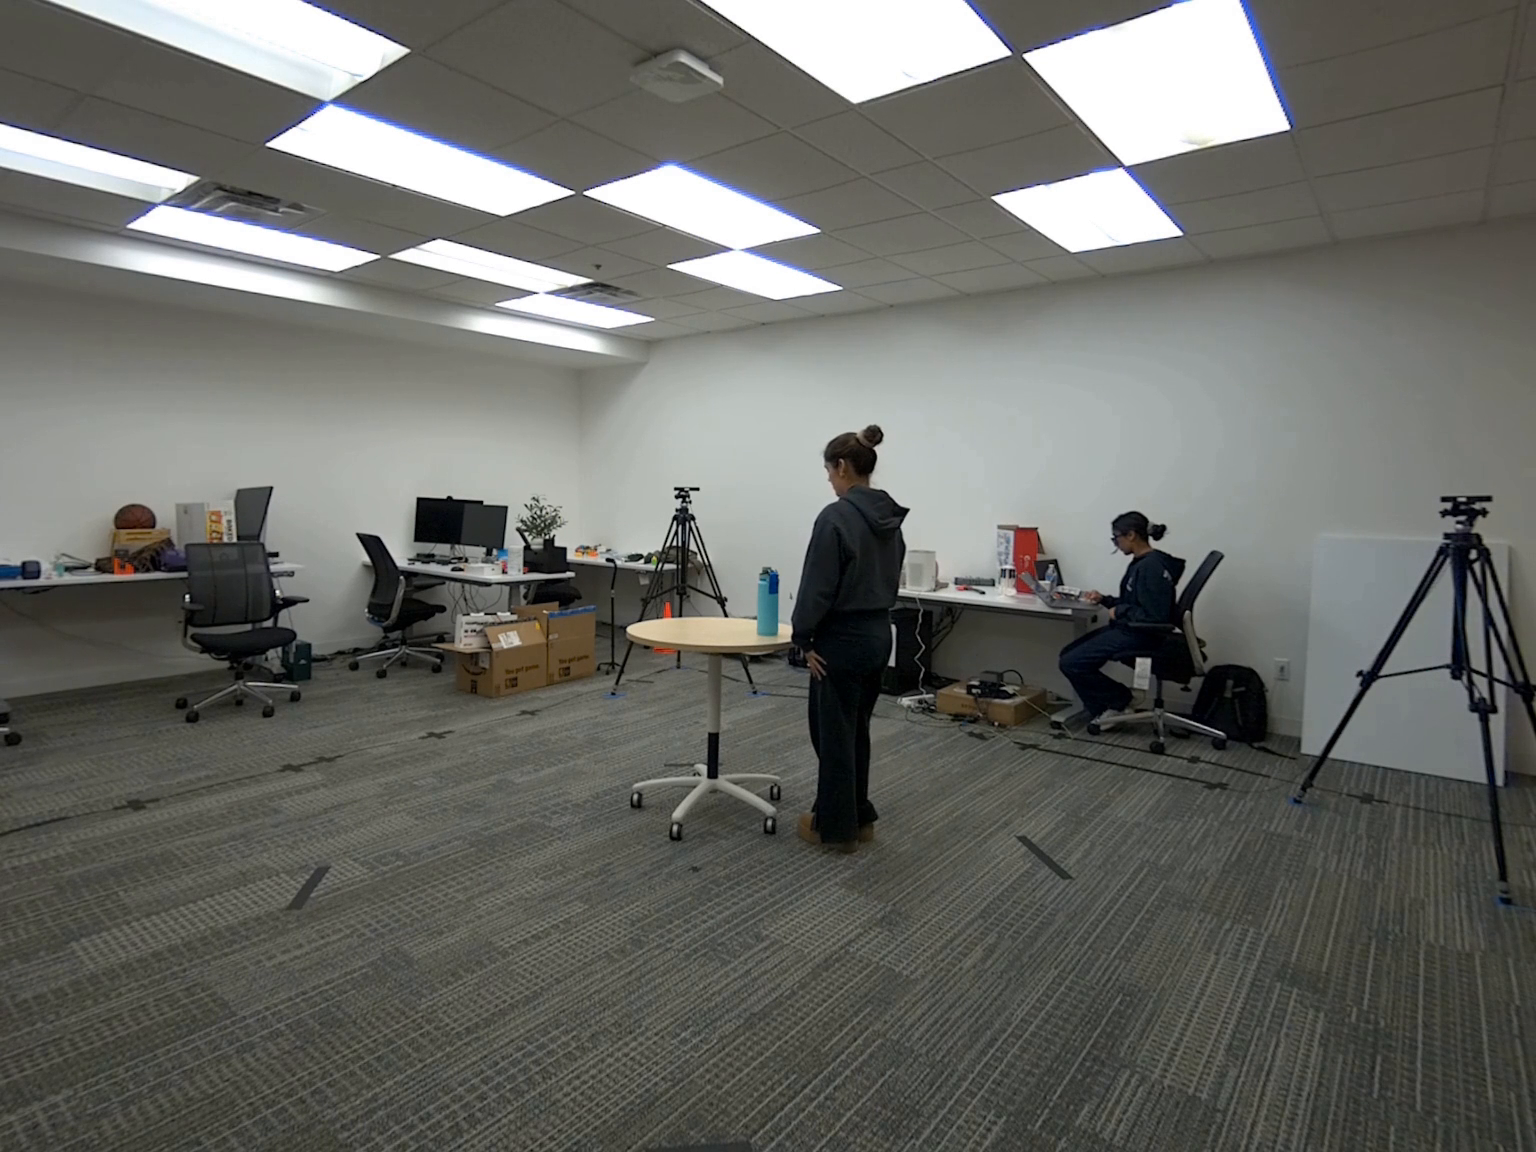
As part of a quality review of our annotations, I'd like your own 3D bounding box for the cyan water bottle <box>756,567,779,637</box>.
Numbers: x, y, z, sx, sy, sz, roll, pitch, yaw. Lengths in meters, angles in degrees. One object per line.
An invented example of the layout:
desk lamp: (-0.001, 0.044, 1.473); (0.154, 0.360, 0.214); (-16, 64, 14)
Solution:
cyan water bottle: (-0.004, 0.102, 3.577); (0.092, 0.282, 0.093); (3, 4, -2)
